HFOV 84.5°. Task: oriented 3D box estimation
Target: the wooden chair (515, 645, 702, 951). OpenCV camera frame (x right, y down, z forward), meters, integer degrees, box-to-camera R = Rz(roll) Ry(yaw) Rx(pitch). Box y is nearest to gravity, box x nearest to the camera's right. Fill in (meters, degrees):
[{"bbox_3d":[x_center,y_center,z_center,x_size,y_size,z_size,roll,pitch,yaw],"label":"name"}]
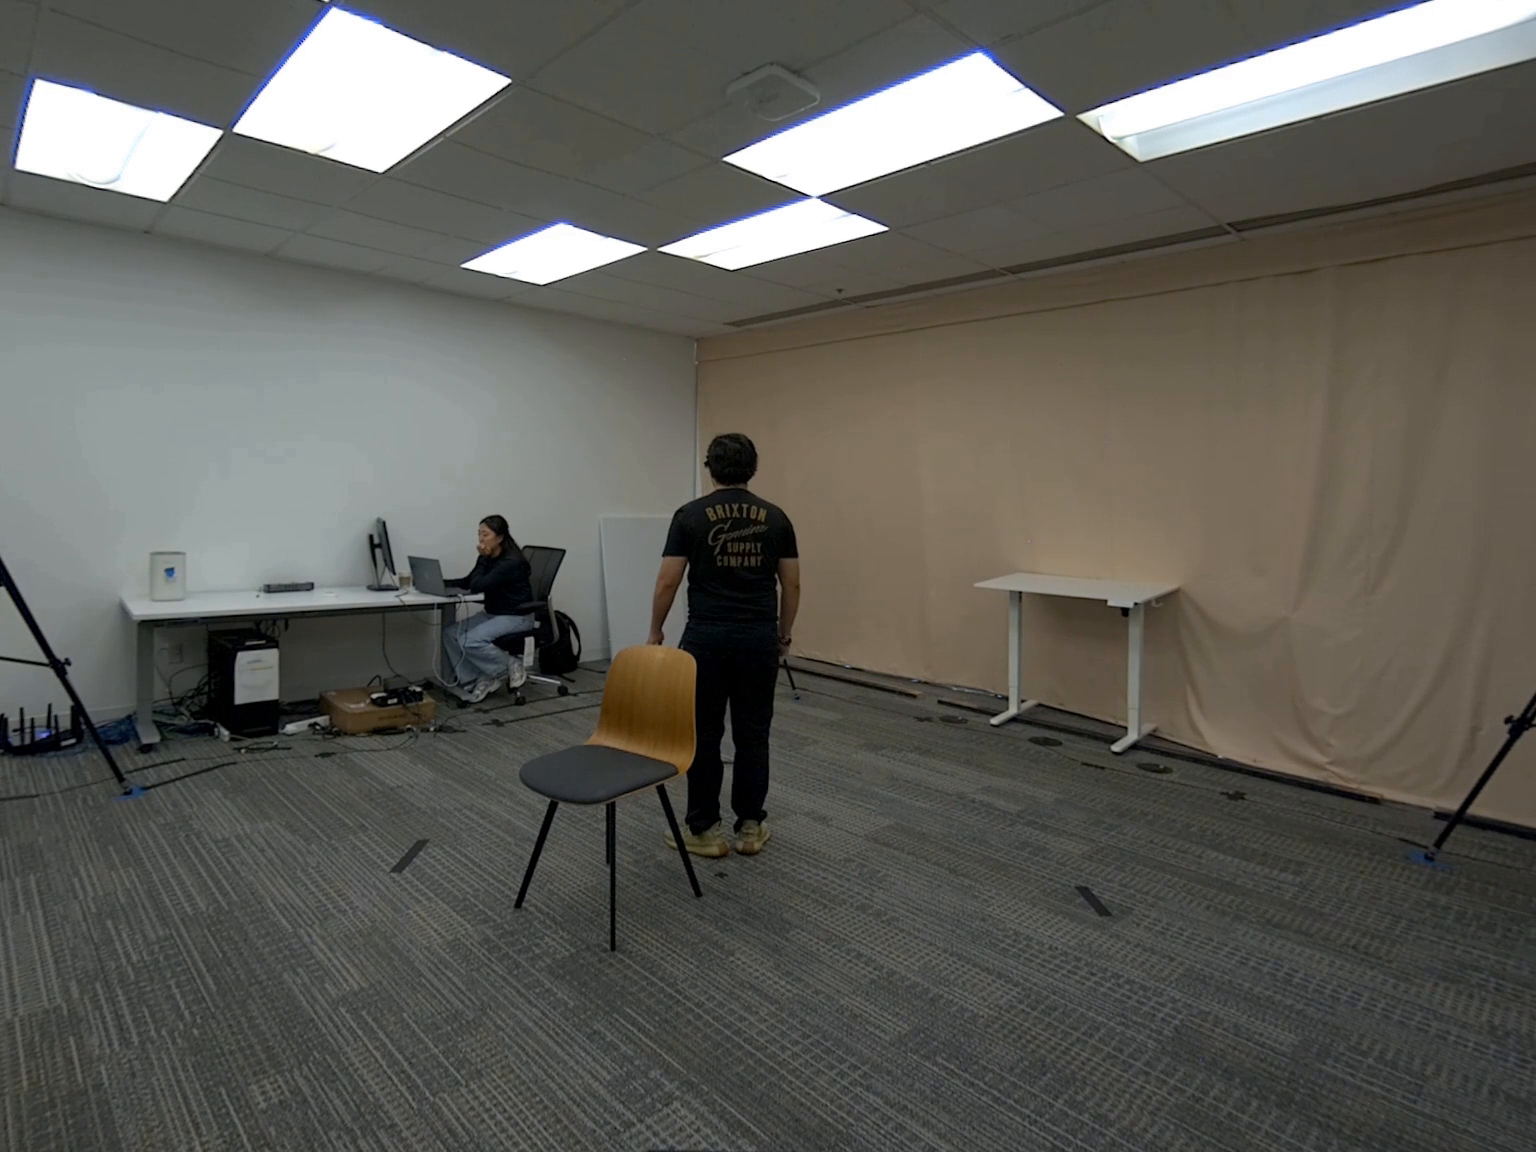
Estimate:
[{"bbox_3d":[-0.534,0.693,2.838,0.489,0.877,0.511,4,0,34],"label":"wooden chair"}]
